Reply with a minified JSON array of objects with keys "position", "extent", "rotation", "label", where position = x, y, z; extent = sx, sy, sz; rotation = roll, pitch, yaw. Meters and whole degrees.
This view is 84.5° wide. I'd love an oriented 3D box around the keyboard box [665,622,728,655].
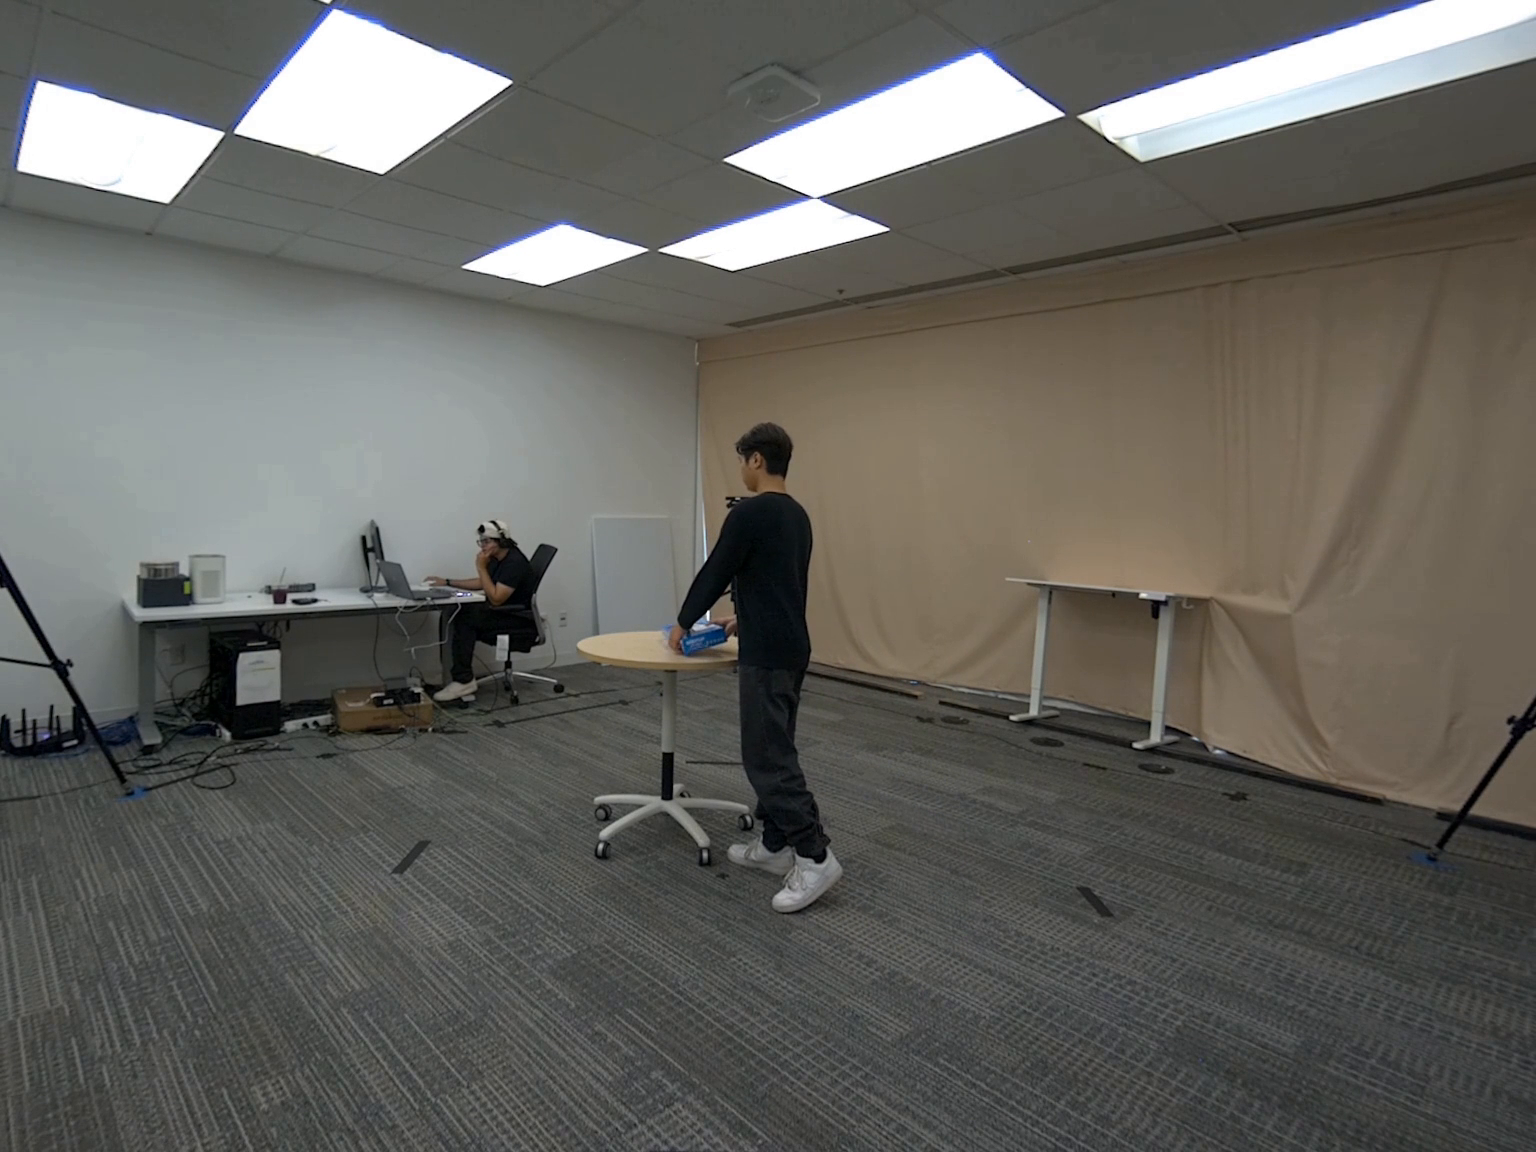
[{"position":[-0.317,0.231,3.422],"extent":[0.174,0.059,0.442],"rotation":[-14,7,-13],"label":"keyboard box"}]
